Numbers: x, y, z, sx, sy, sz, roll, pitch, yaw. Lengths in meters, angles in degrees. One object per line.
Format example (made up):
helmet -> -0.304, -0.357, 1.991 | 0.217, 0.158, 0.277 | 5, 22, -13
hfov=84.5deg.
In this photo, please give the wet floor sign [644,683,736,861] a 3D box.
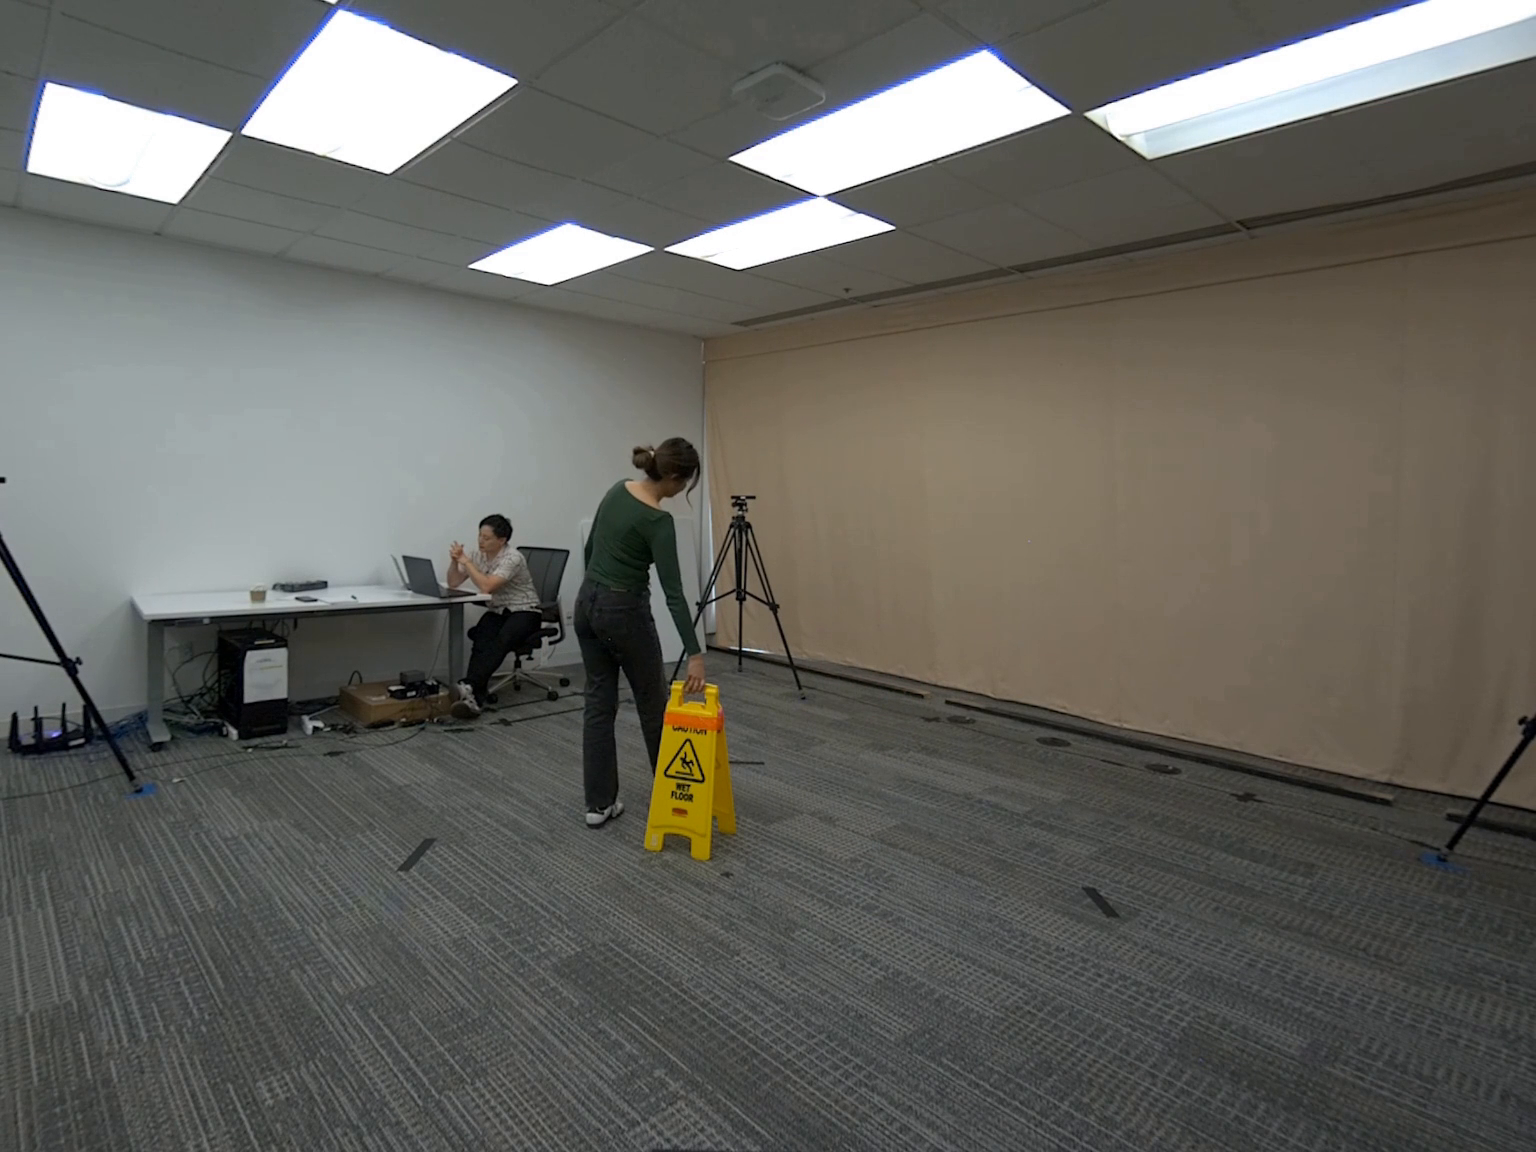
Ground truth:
wet floor sign -> -0.309, 0.752, 3.384 | 0.287, 0.644, 0.286 | 1, 4, 20
